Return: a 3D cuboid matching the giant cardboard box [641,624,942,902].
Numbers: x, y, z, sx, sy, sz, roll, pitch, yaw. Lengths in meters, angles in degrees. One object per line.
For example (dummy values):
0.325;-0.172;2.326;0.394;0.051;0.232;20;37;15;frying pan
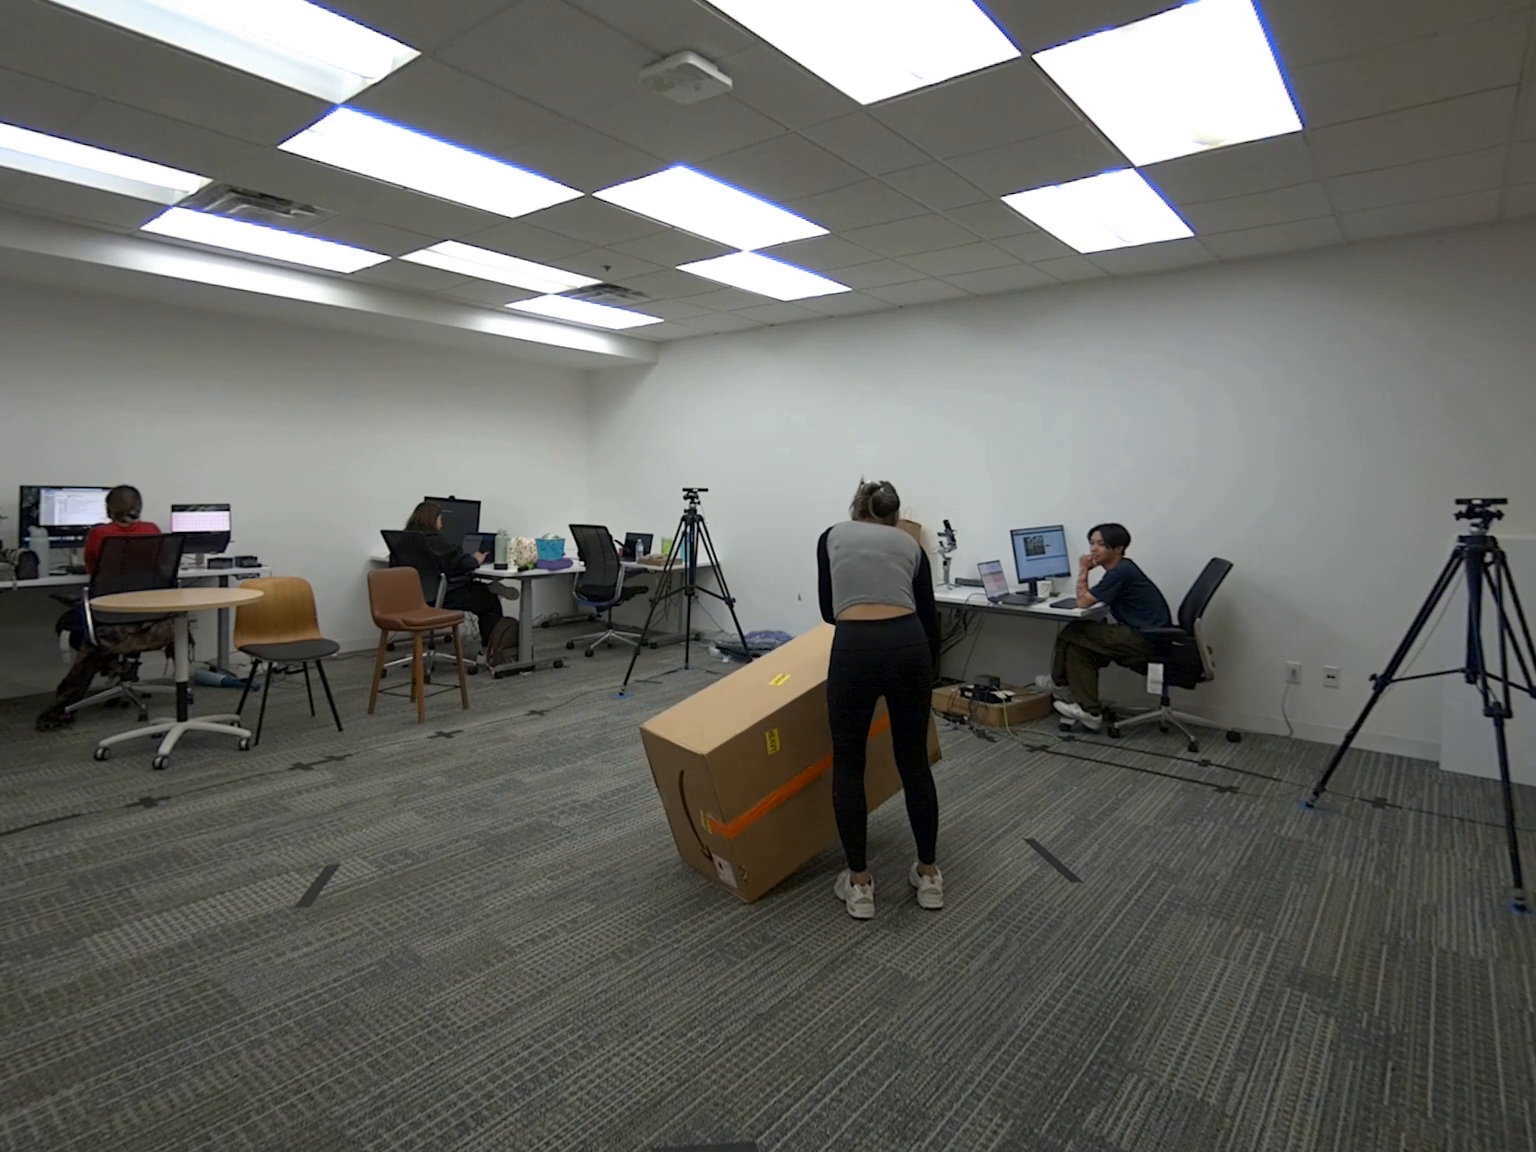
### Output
0.099;0.631;3.213;1.011;0.574;0.462;-26;19;-33;giant cardboard box
